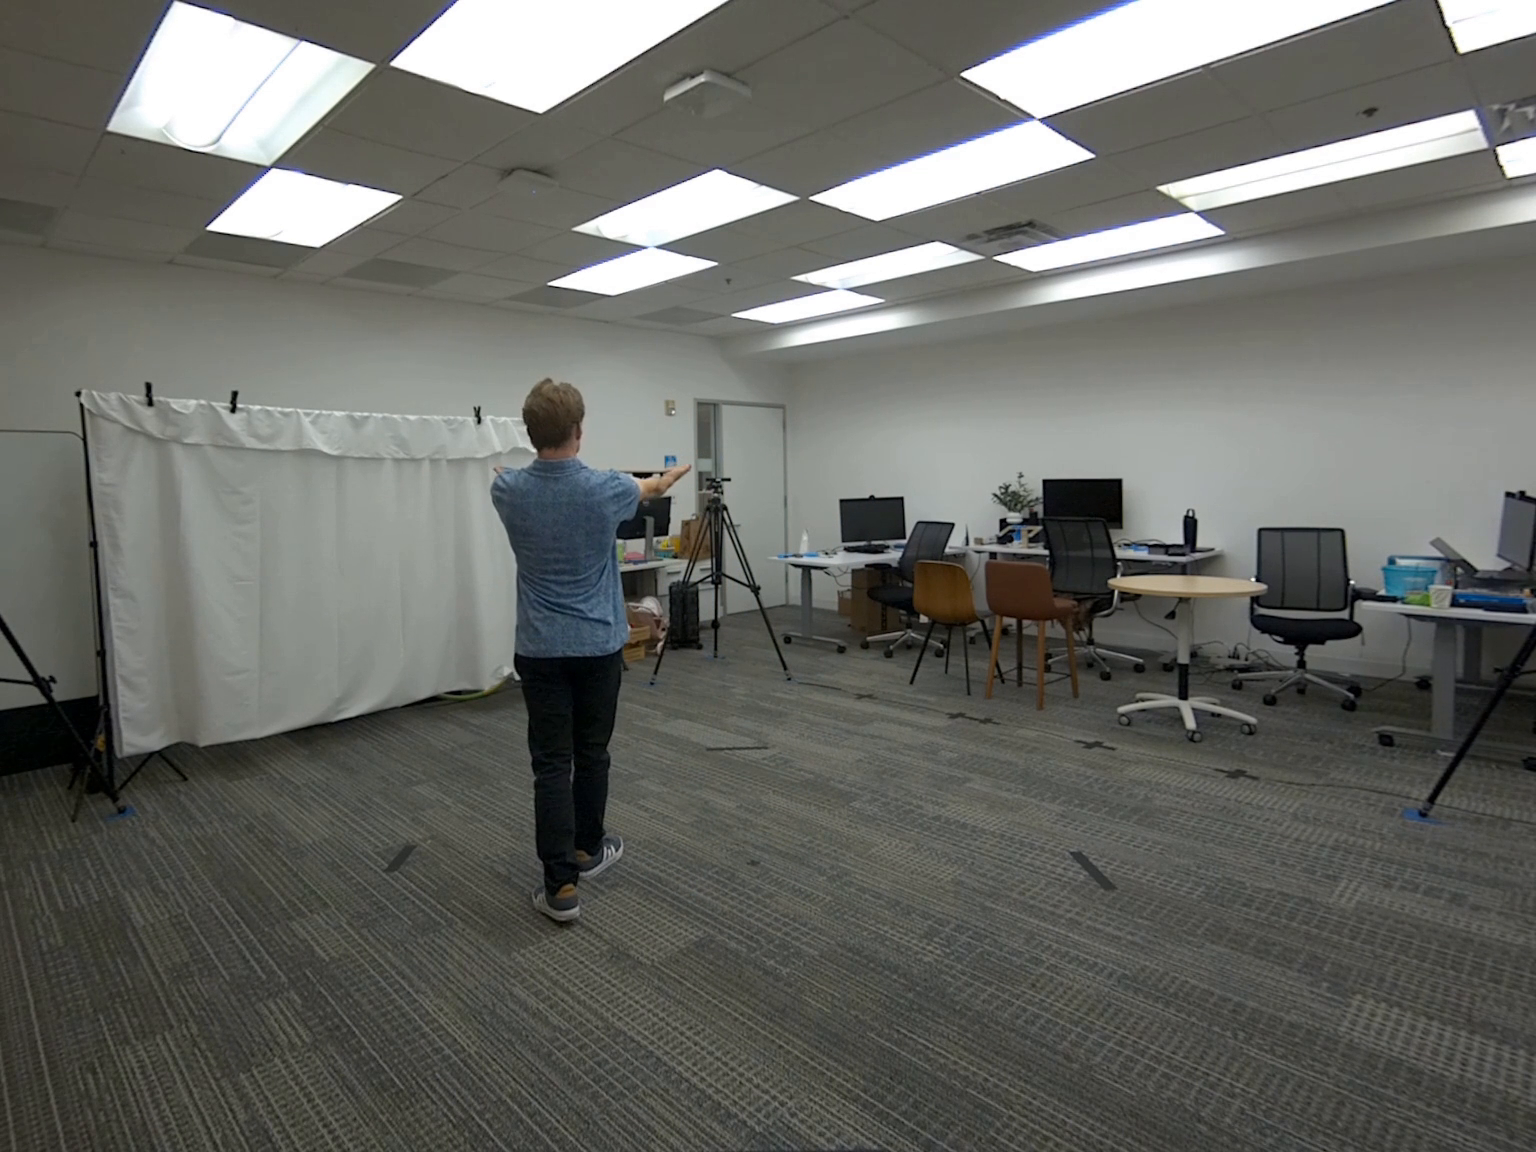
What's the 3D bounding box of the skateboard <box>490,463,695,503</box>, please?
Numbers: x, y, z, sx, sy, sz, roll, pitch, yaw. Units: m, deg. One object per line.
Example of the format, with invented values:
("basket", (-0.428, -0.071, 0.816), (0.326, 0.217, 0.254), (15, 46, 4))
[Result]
("skateboard", (-0.695, -0.377, 3.439), (0.786, 0.109, 0.196), (-1, 15, 1))
